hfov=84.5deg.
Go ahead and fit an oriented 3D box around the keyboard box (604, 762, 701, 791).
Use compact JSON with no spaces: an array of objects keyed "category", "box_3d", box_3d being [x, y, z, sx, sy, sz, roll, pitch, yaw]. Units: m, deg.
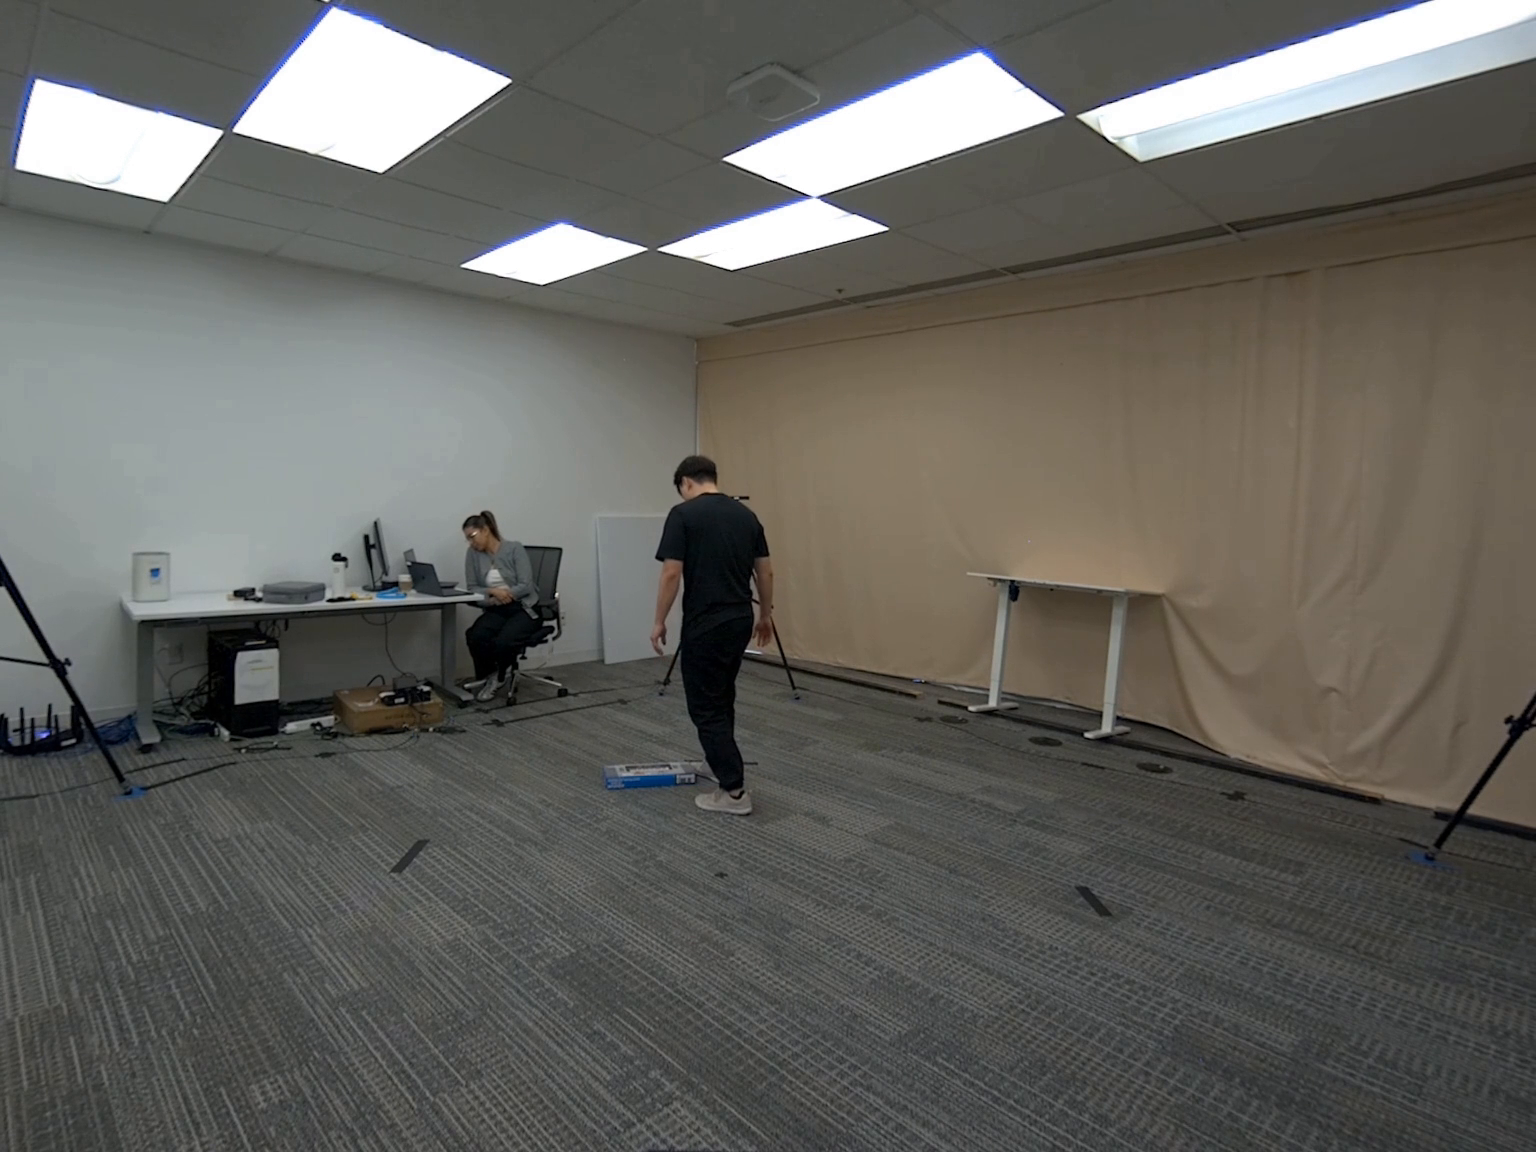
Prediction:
[{"category":"keyboard box","box_3d":[-0.587,0.974,4.122,0.432,0.059,0.178,1,5,-15]}]
